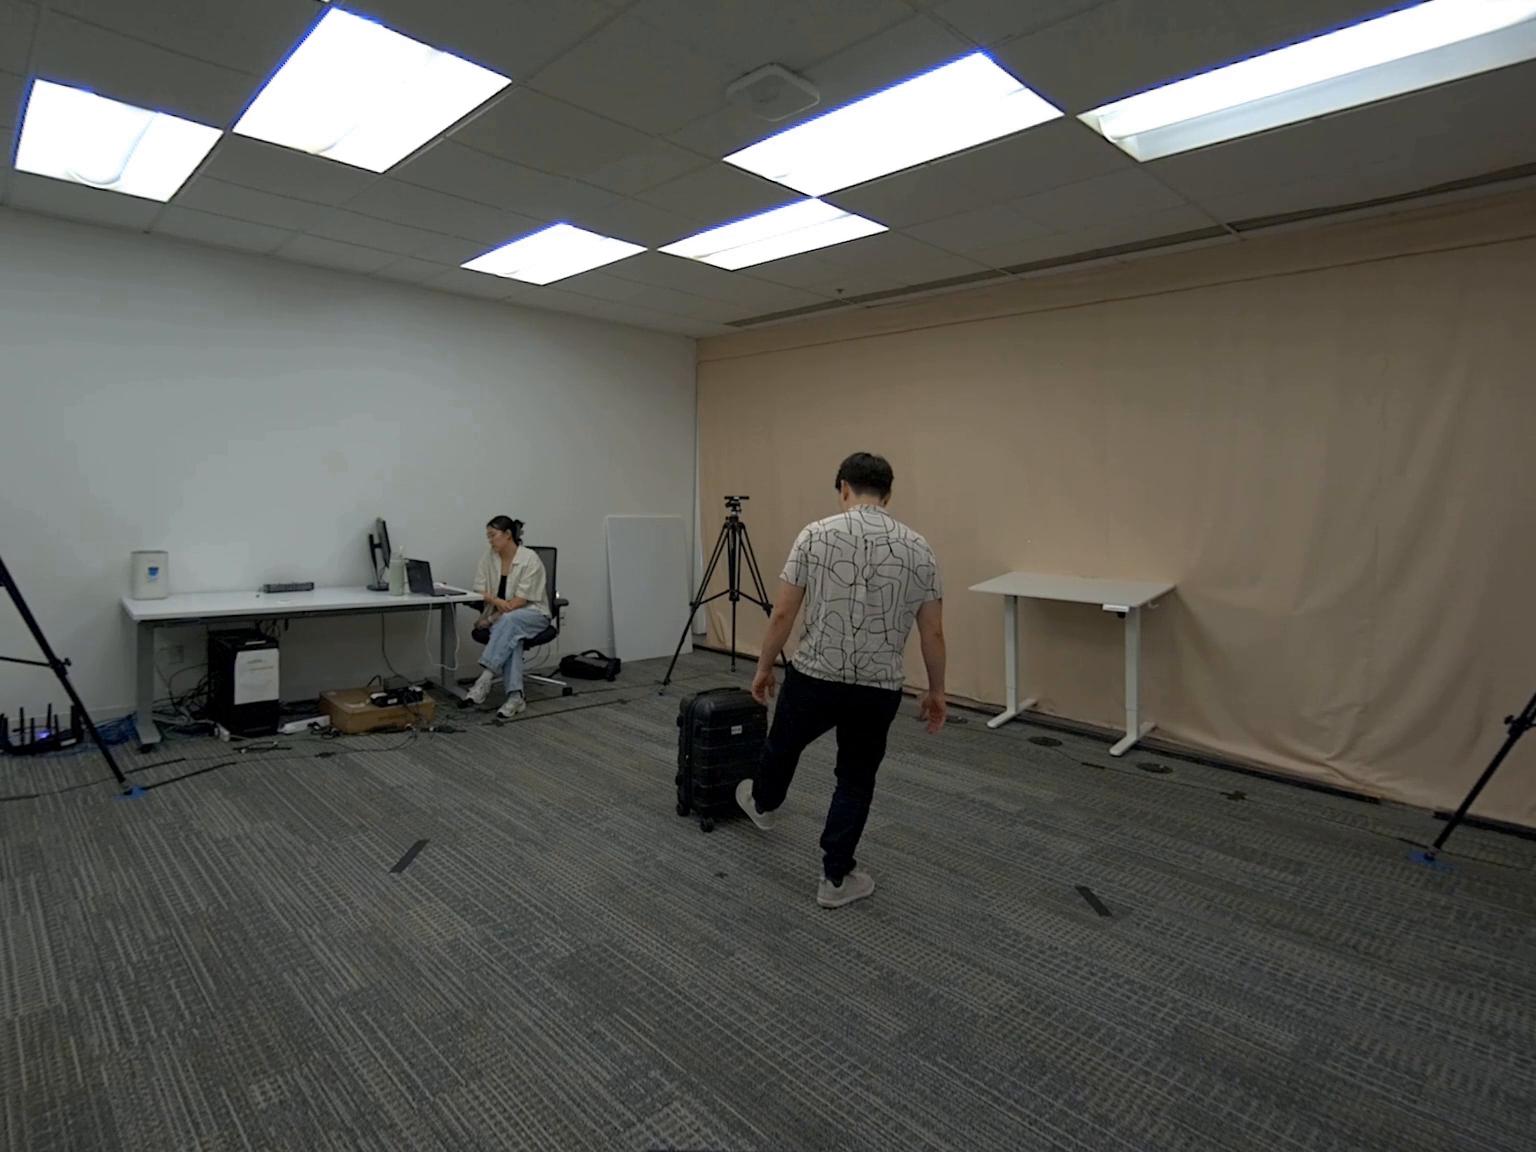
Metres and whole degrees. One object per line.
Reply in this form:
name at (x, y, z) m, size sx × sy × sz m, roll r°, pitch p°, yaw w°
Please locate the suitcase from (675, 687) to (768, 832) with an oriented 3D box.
suitcase at (-0.204, 0.771, 3.685) m, size 0.367 × 0.548 × 0.254 m, roll 0°, pitch 4°, yaw -34°
